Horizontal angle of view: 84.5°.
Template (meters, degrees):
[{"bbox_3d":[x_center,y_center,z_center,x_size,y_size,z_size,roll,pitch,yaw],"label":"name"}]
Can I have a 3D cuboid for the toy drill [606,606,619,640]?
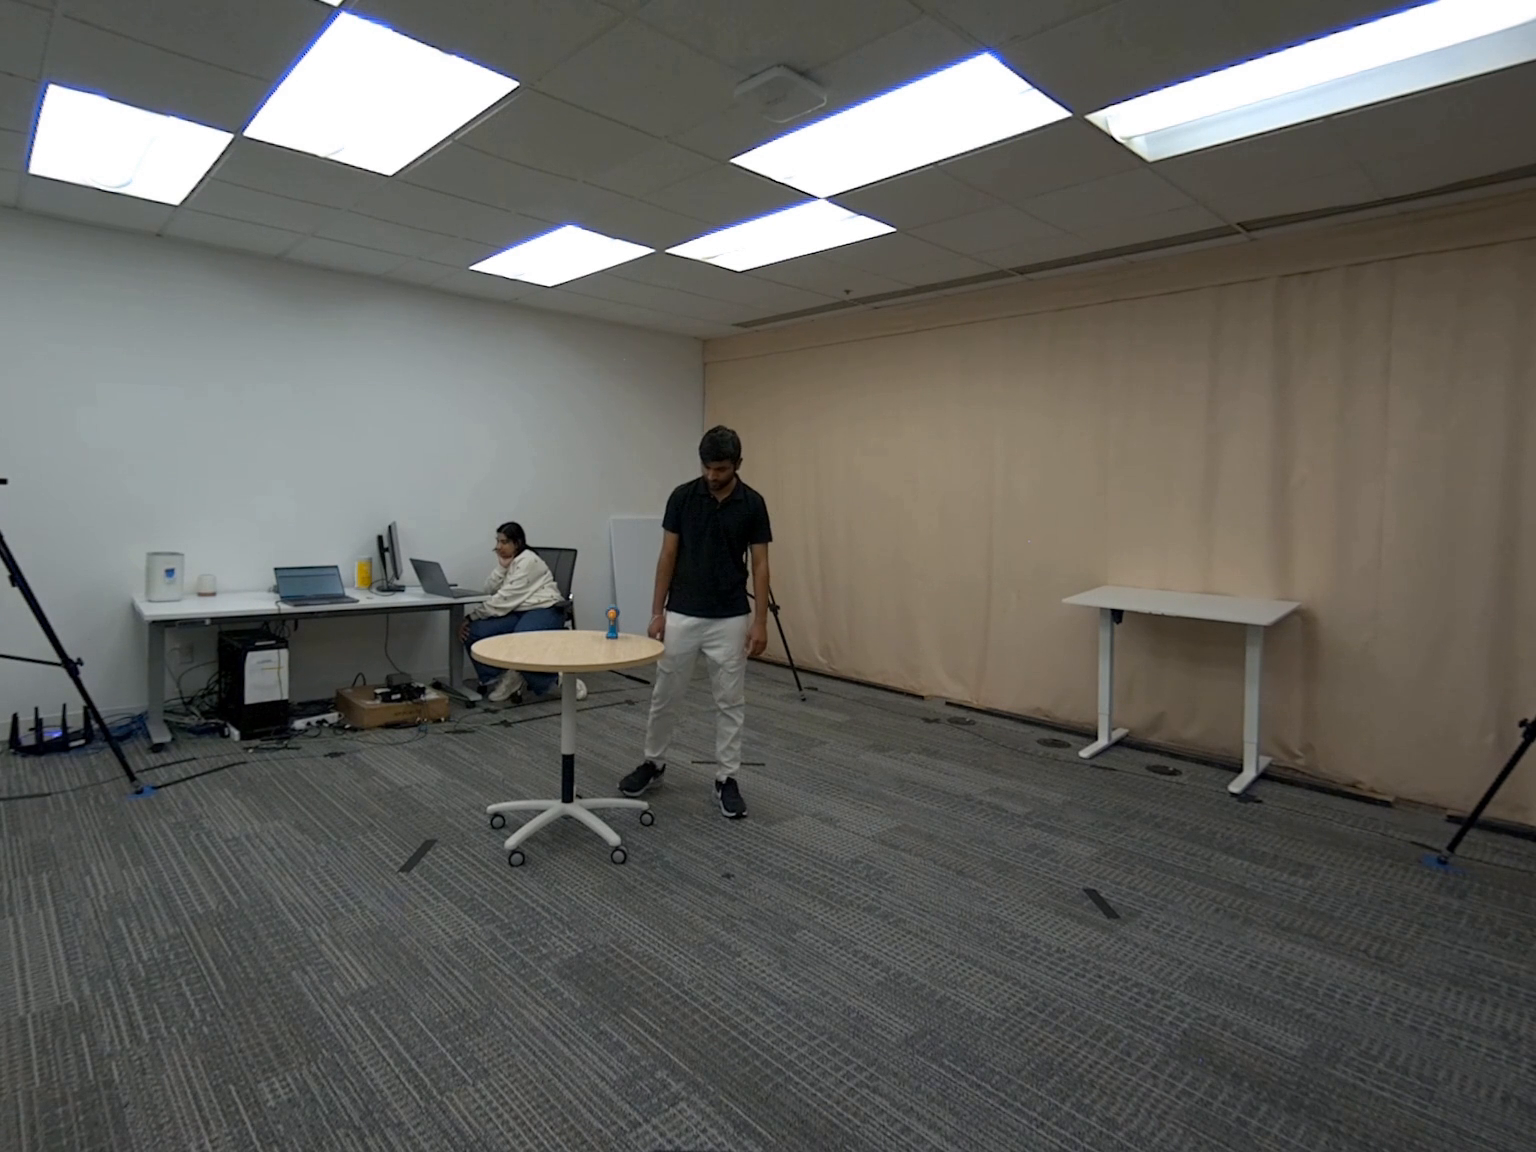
[{"bbox_3d":[-0.673,0.196,3.570,0.061,0.146,0.171,3,4,-9],"label":"toy drill"}]
